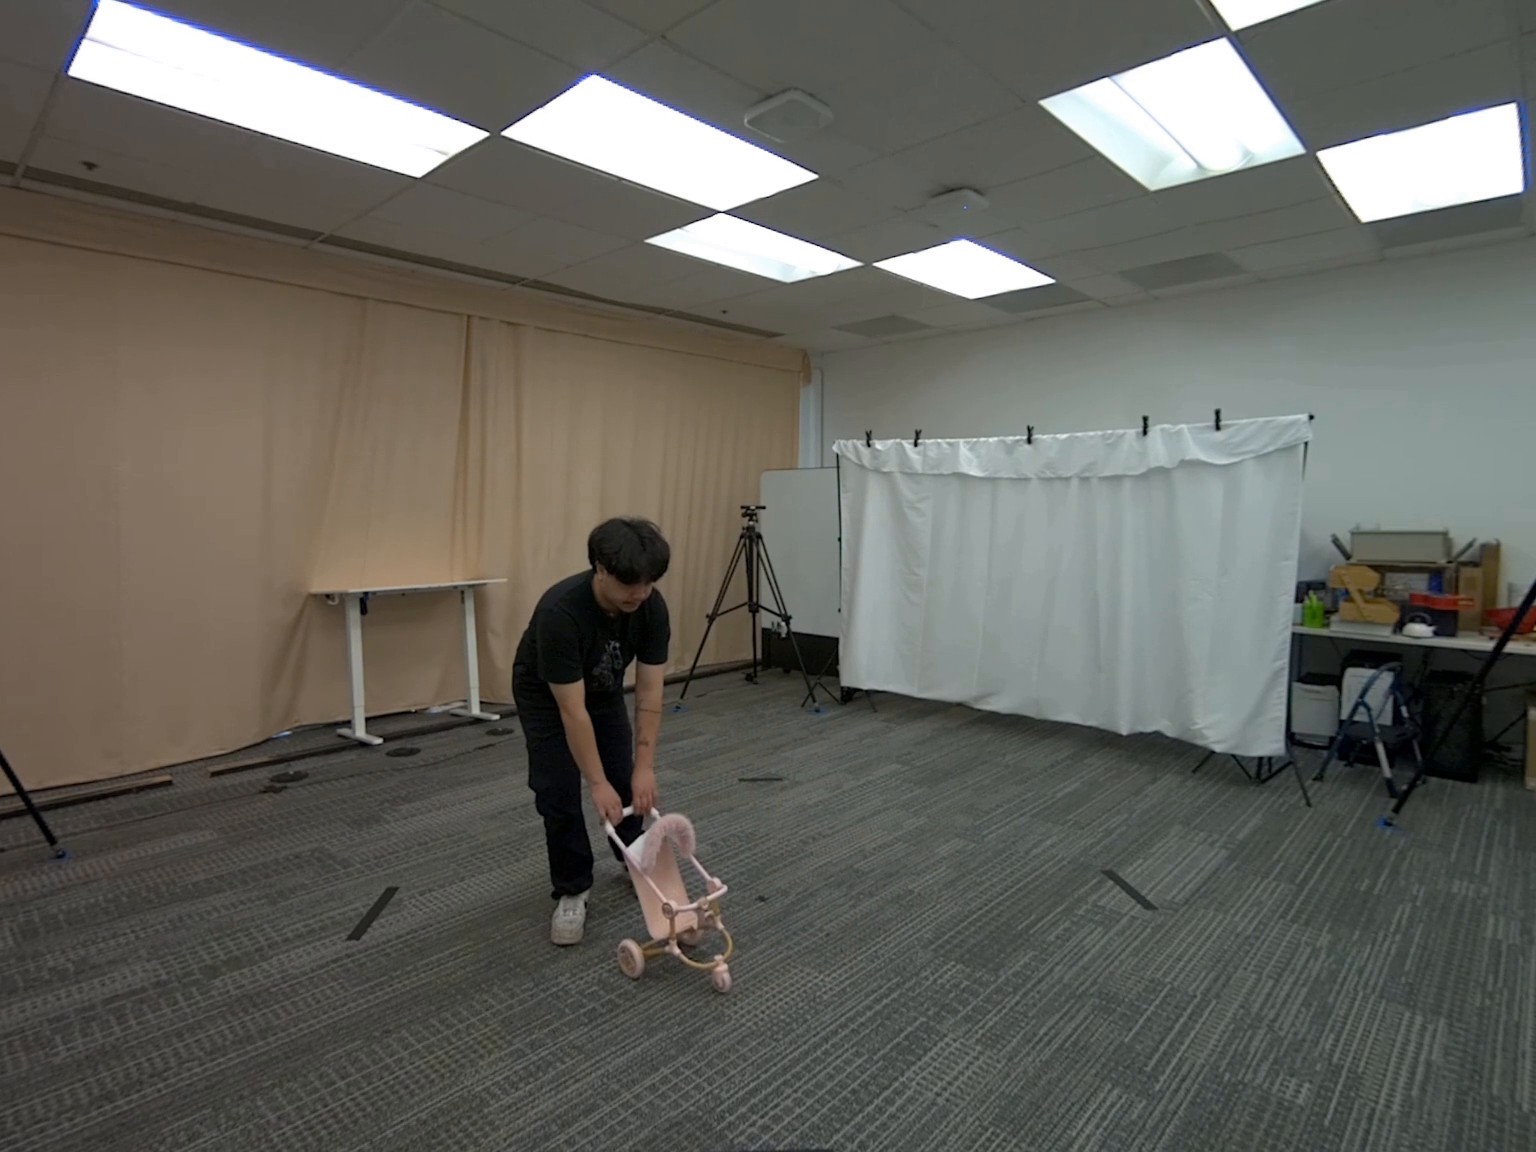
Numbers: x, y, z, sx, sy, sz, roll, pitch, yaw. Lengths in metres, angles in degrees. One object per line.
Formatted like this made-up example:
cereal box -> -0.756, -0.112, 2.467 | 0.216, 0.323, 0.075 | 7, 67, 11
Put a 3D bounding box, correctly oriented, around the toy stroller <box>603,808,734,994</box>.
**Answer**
toy stroller -> -0.277, 0.959, 2.525 | 0.273, 0.539, 0.349 | -4, -11, -45
